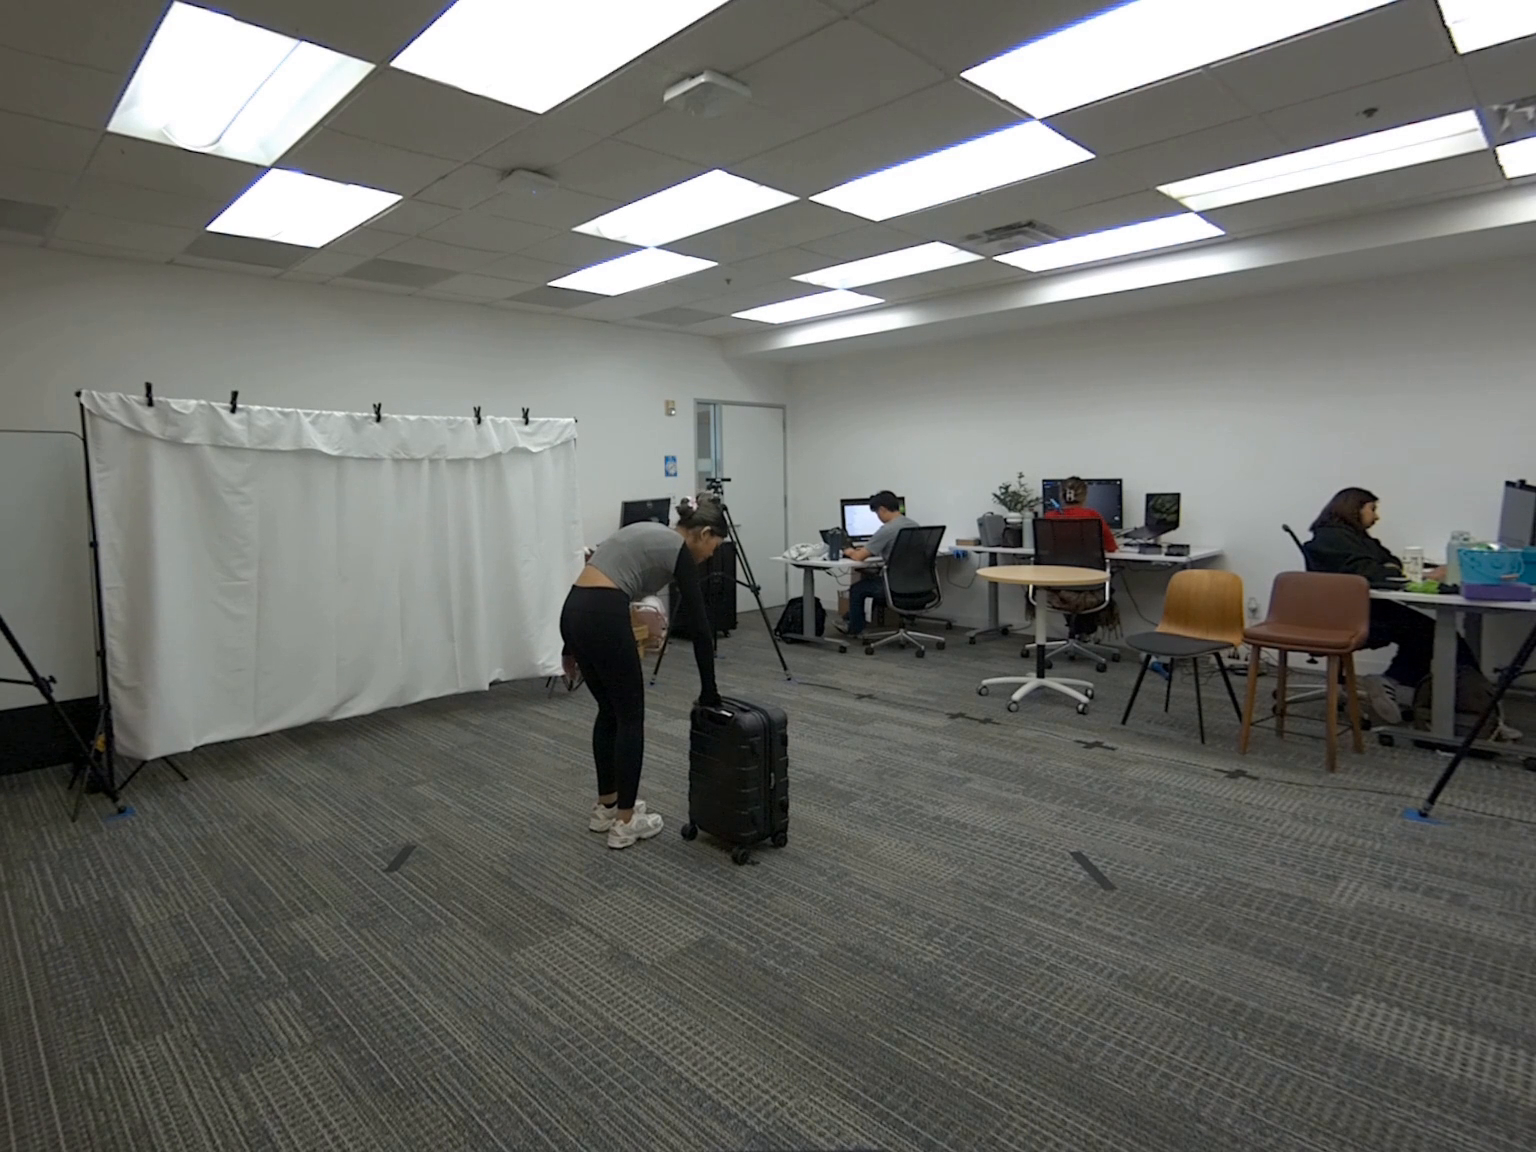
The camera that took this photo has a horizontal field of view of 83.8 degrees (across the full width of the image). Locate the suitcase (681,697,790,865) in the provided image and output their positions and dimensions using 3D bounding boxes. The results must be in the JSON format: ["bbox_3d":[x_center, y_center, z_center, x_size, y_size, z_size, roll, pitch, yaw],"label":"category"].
[{"bbox_3d":[-0.112,0.749,3.281,0.241,0.549,0.387,-1,2,-41],"label":"suitcase"}]
